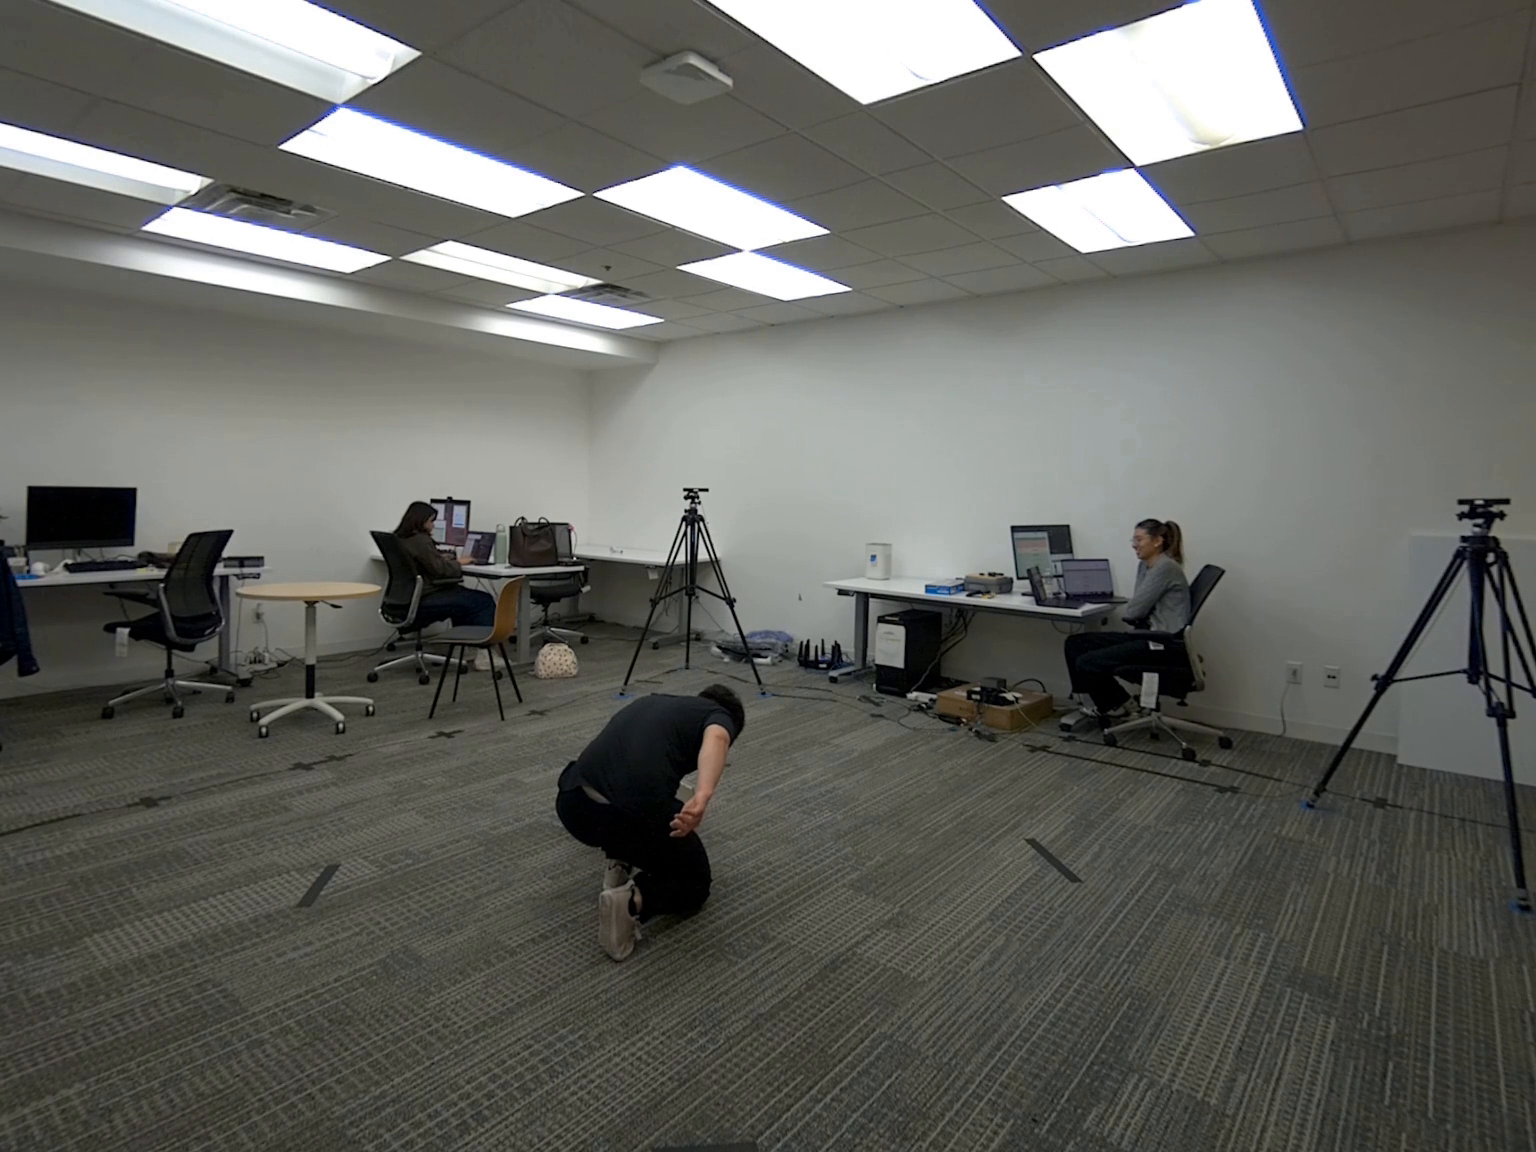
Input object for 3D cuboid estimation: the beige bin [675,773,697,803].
[{"bbox_3d":[-0.568,0.932,3.479,0.410,0.188,0.390,-4,6,-37],"label":"beige bin"}]
